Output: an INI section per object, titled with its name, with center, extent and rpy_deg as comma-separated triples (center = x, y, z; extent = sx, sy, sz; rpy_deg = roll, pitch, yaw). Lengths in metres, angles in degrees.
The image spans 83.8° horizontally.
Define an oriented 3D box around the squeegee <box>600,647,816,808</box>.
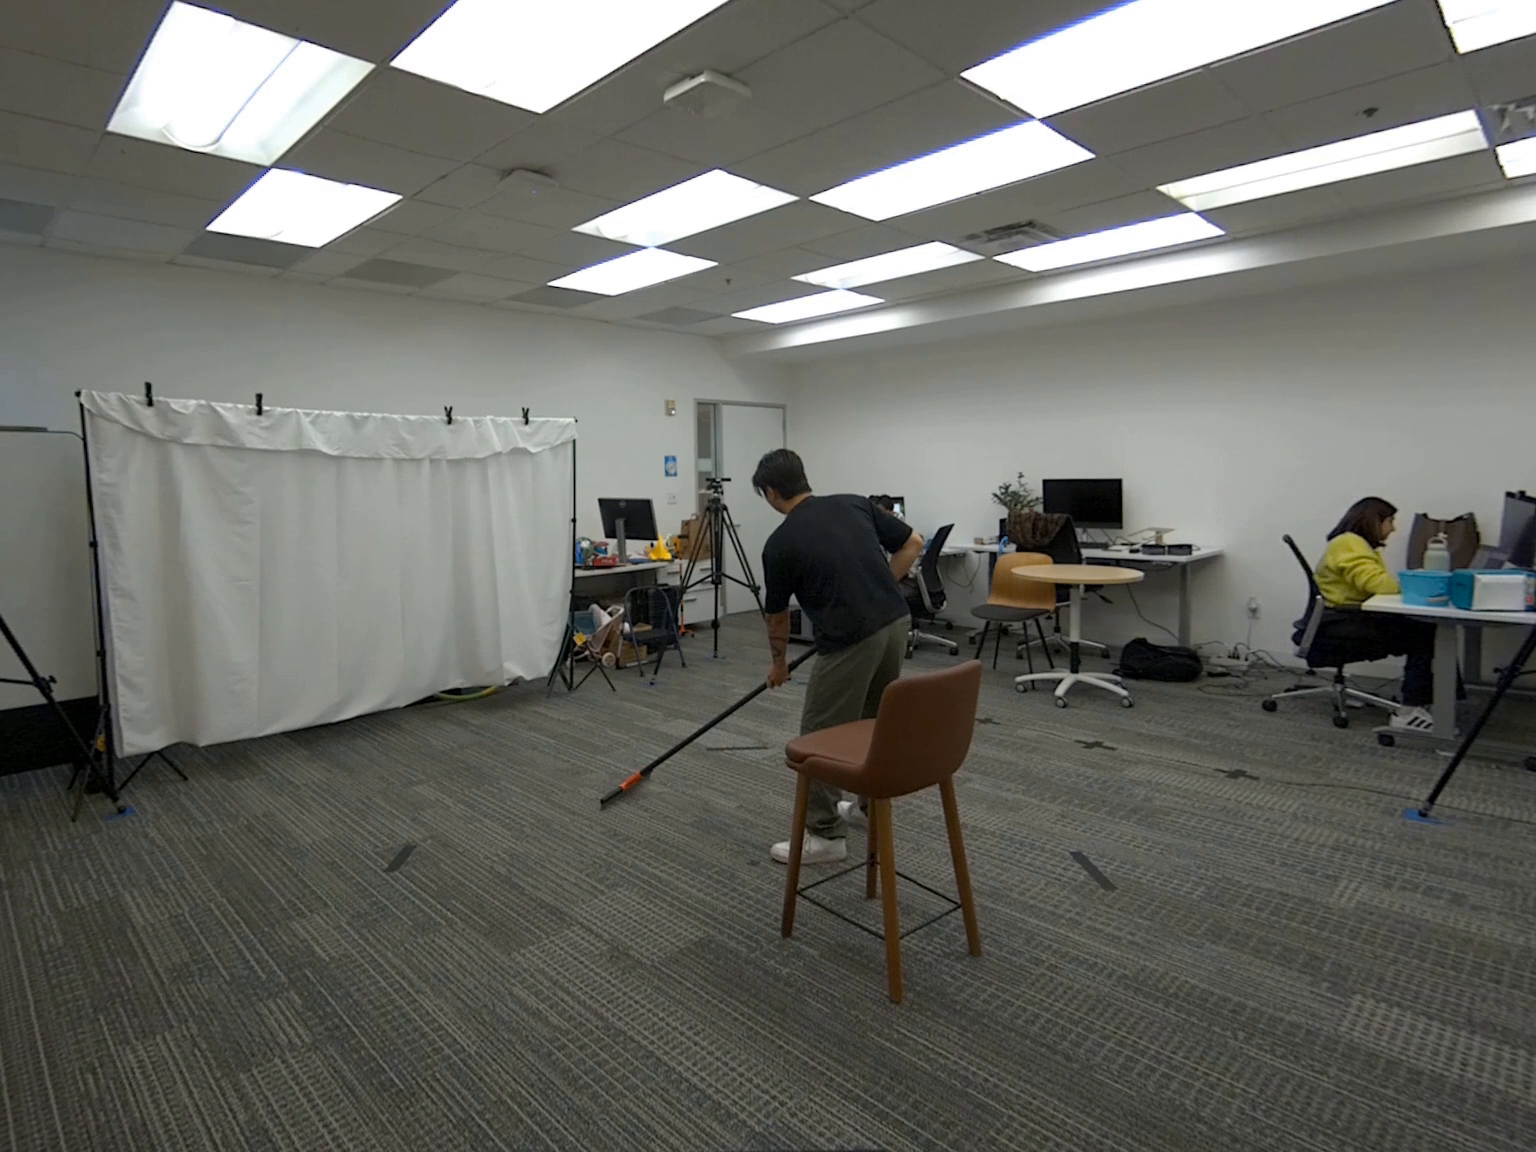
[squeegee]
center = -0.073, 0.501, 3.536
extent = 1.544, 0.053, 0.431
rpy_deg = -37, -7, 22
